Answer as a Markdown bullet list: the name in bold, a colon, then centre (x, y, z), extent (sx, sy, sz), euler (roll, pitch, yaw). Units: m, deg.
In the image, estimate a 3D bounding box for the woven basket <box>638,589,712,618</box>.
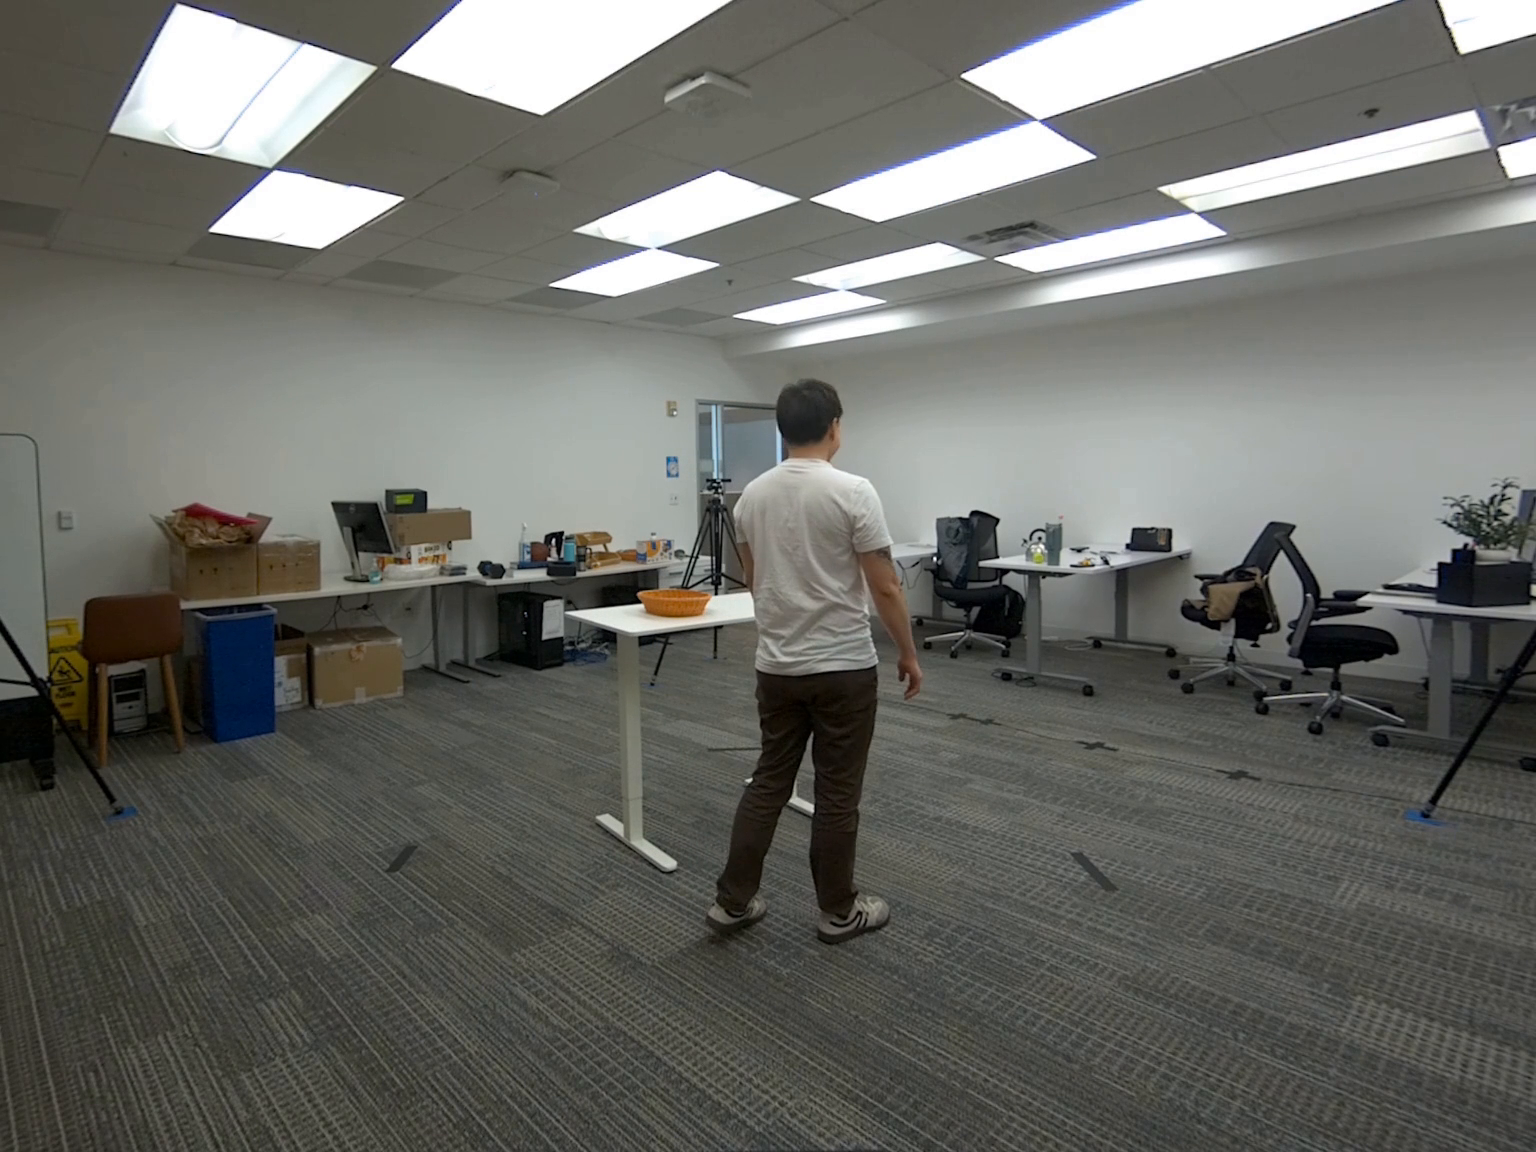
- **woven basket**: centre (-0.368, 0.113, 3.357), extent (0.246, 0.073, 0.360), euler (-4, 7, -31)
